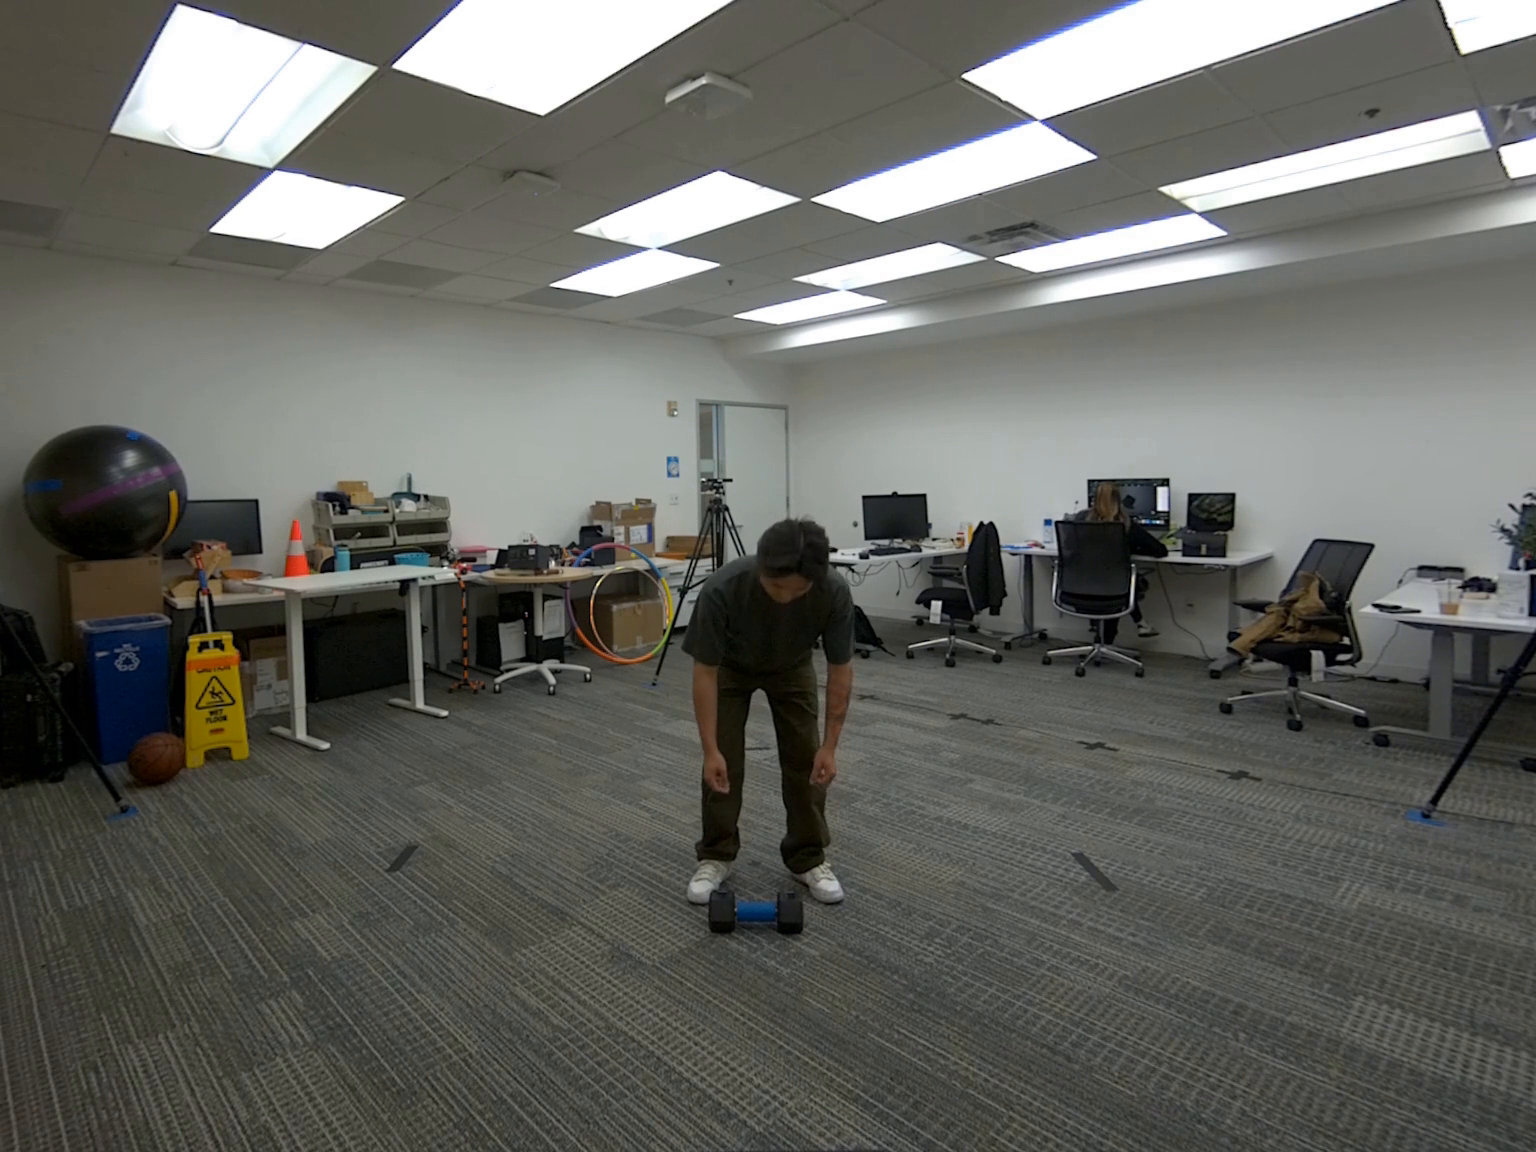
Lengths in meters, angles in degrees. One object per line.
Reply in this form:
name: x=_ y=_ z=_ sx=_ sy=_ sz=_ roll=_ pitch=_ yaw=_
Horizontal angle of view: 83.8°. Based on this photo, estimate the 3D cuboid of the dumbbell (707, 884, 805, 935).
dumbbell: x=-0.031 y=1.049 z=2.647 sx=0.294 sy=0.125 sz=0.106 roll=-2 pitch=-24 yaw=2
